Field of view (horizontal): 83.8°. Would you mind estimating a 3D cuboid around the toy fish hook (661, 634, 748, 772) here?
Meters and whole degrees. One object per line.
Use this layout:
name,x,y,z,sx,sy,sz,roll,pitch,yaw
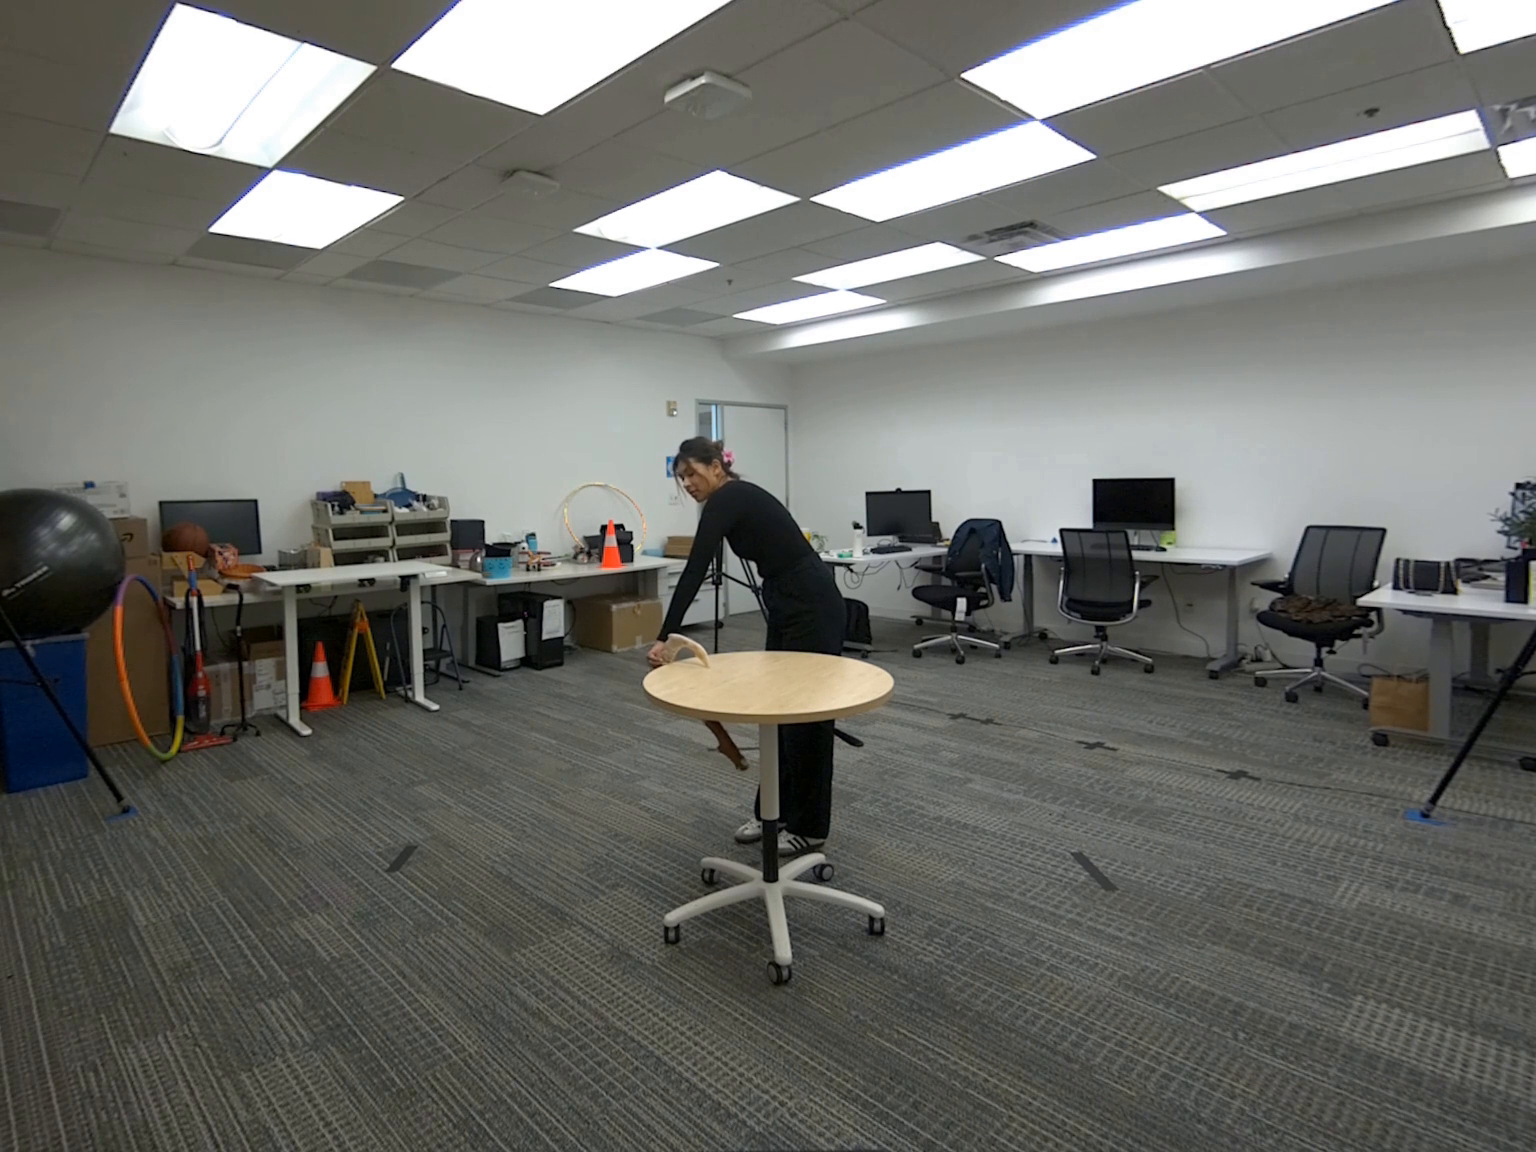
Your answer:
toy fish hook,-0.202,0.401,2.788,0.047,0.223,0.523,-3,44,-50
